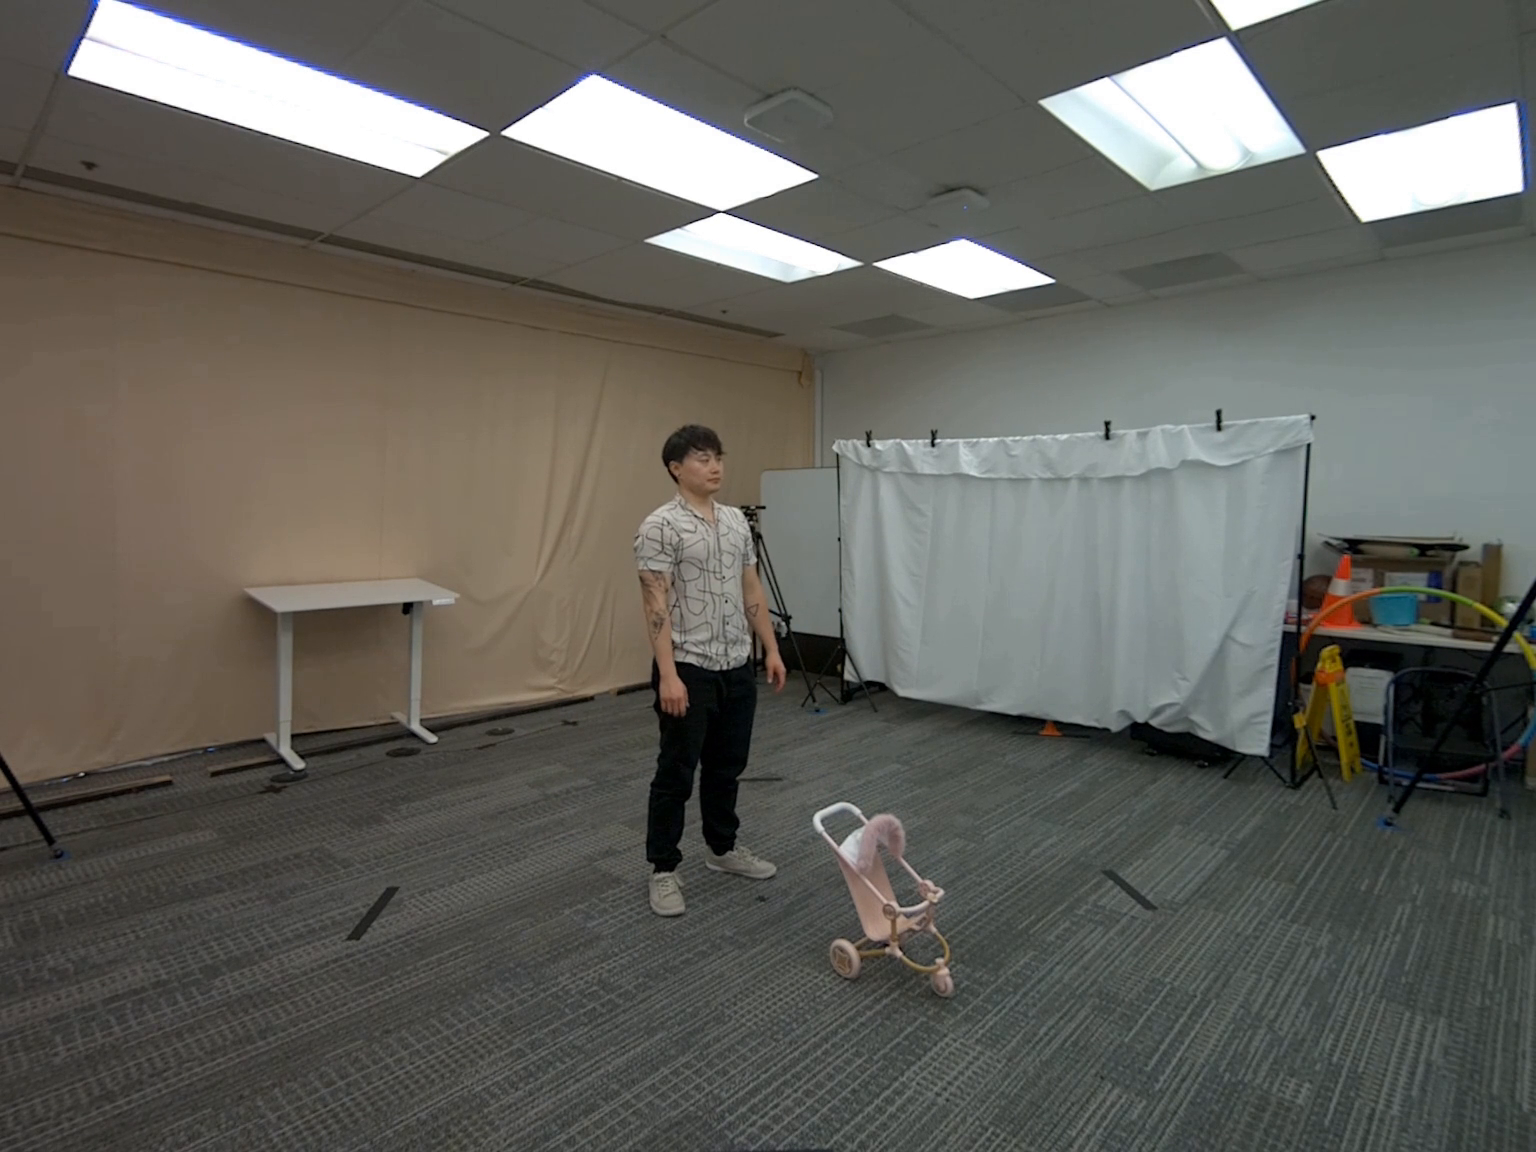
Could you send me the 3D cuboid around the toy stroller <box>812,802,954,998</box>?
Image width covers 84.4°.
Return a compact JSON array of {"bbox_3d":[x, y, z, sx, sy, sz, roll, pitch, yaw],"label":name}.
[{"bbox_3d":[0.362,0.956,2.514,0.273,0.539,0.349,-3,-11,-41],"label":"toy stroller"}]
